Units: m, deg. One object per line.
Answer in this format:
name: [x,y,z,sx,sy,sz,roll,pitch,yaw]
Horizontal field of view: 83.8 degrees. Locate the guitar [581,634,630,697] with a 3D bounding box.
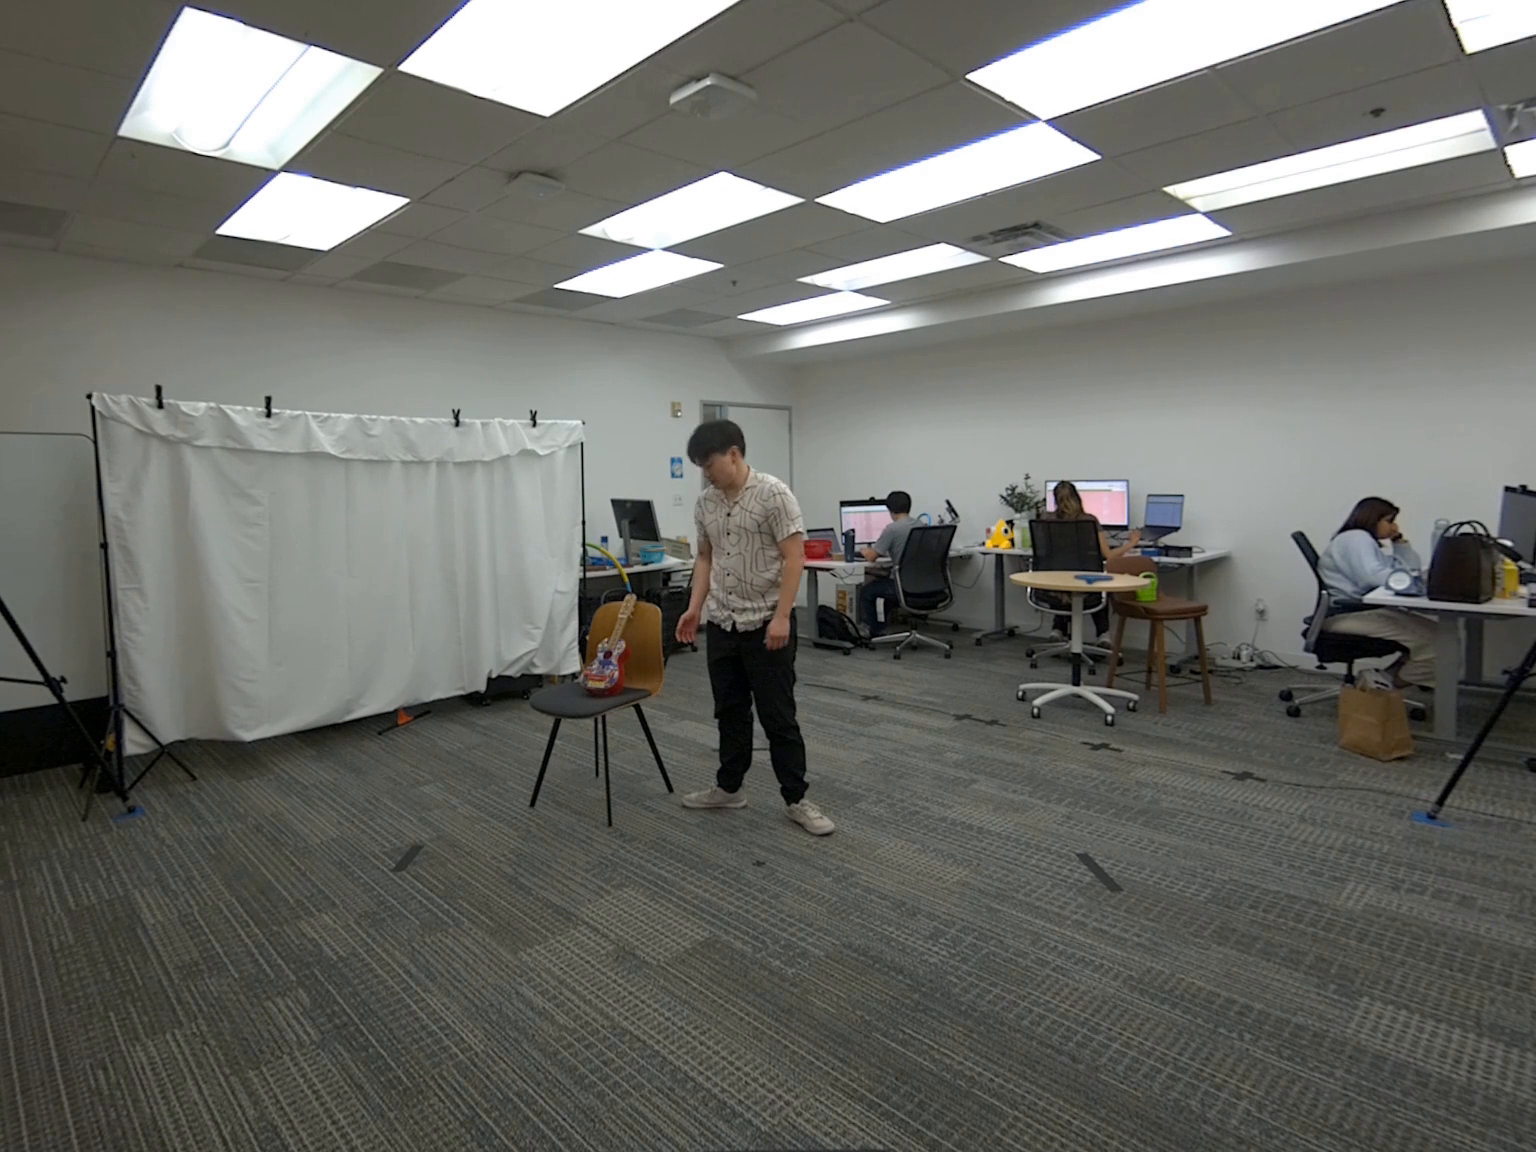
guitar: [-0.661,0.306,3.812,0.198,0.502,0.068,8,-33,30]
